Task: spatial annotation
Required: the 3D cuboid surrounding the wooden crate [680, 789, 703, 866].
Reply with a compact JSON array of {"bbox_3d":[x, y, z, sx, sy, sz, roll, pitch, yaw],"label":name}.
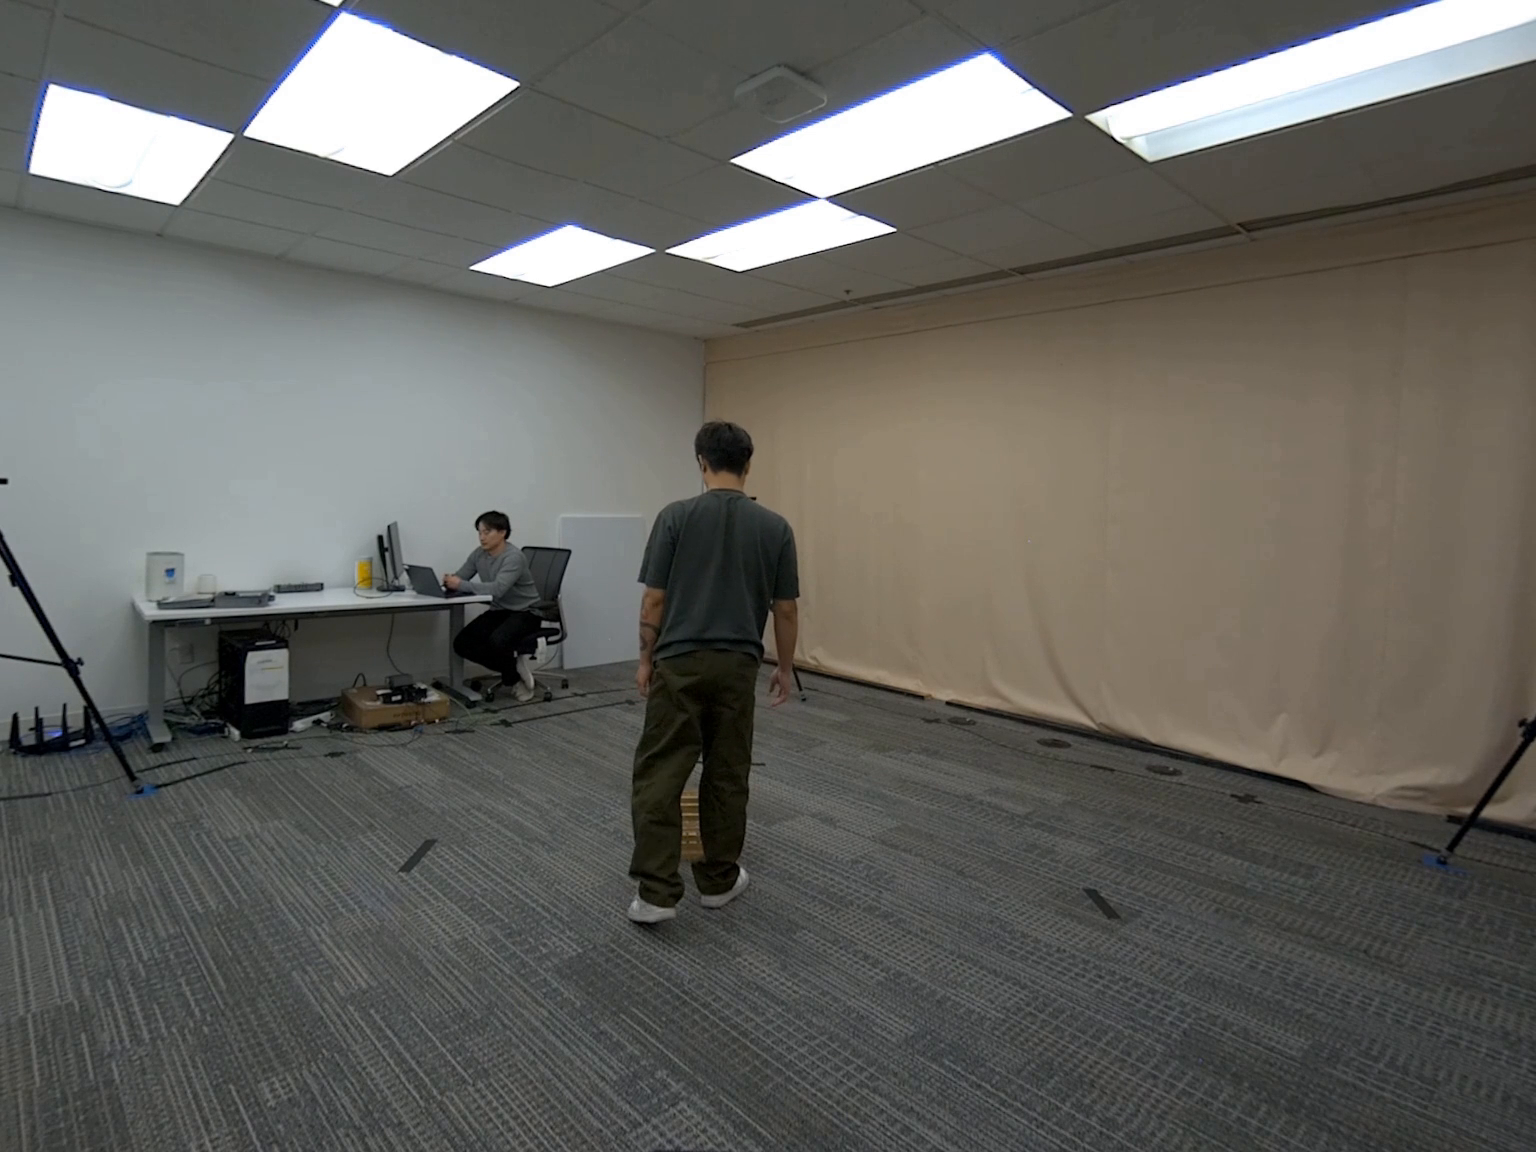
[{"bbox_3d":[-0.298,0.951,3.331,0.323,0.272,0.304,1,4,-6],"label":"wooden crate"}]
